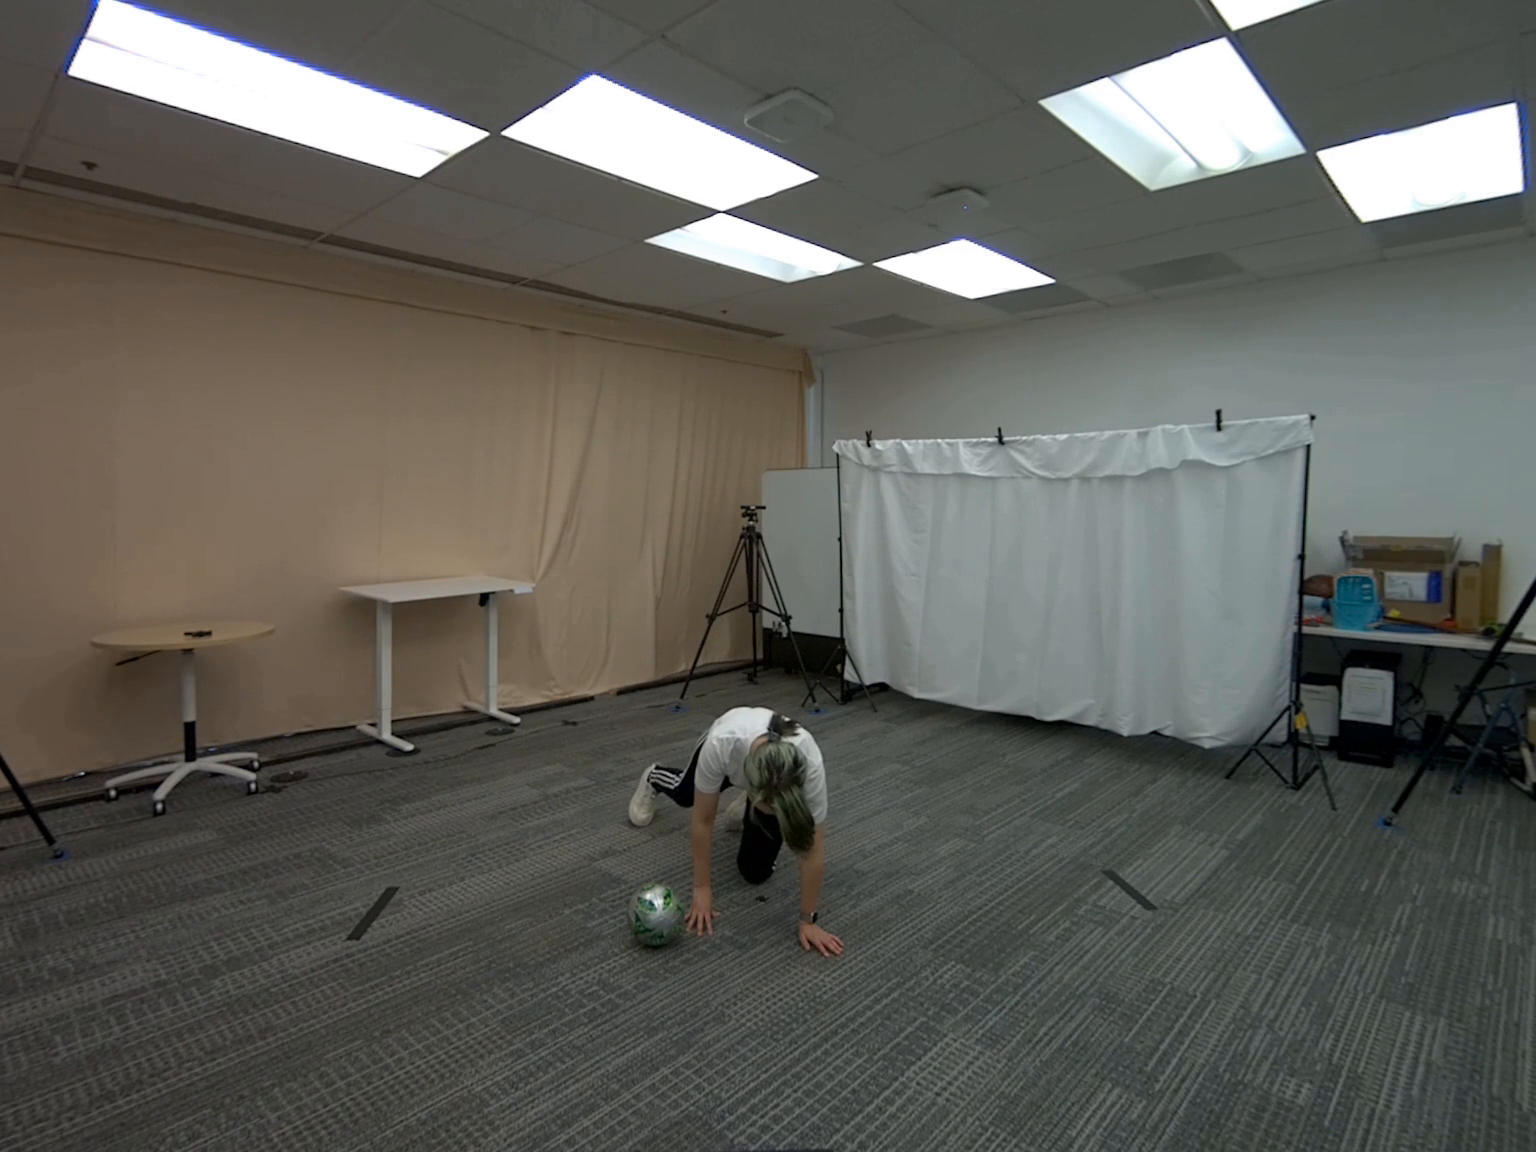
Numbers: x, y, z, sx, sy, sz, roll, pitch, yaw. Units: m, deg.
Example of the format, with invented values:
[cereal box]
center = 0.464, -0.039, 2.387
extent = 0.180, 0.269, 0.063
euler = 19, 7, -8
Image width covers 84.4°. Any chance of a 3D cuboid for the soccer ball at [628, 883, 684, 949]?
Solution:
[soccer ball]
center = -0.368, 1.077, 2.685
extent = 0.187, 0.187, 0.188
euler = 0, 4, -2
